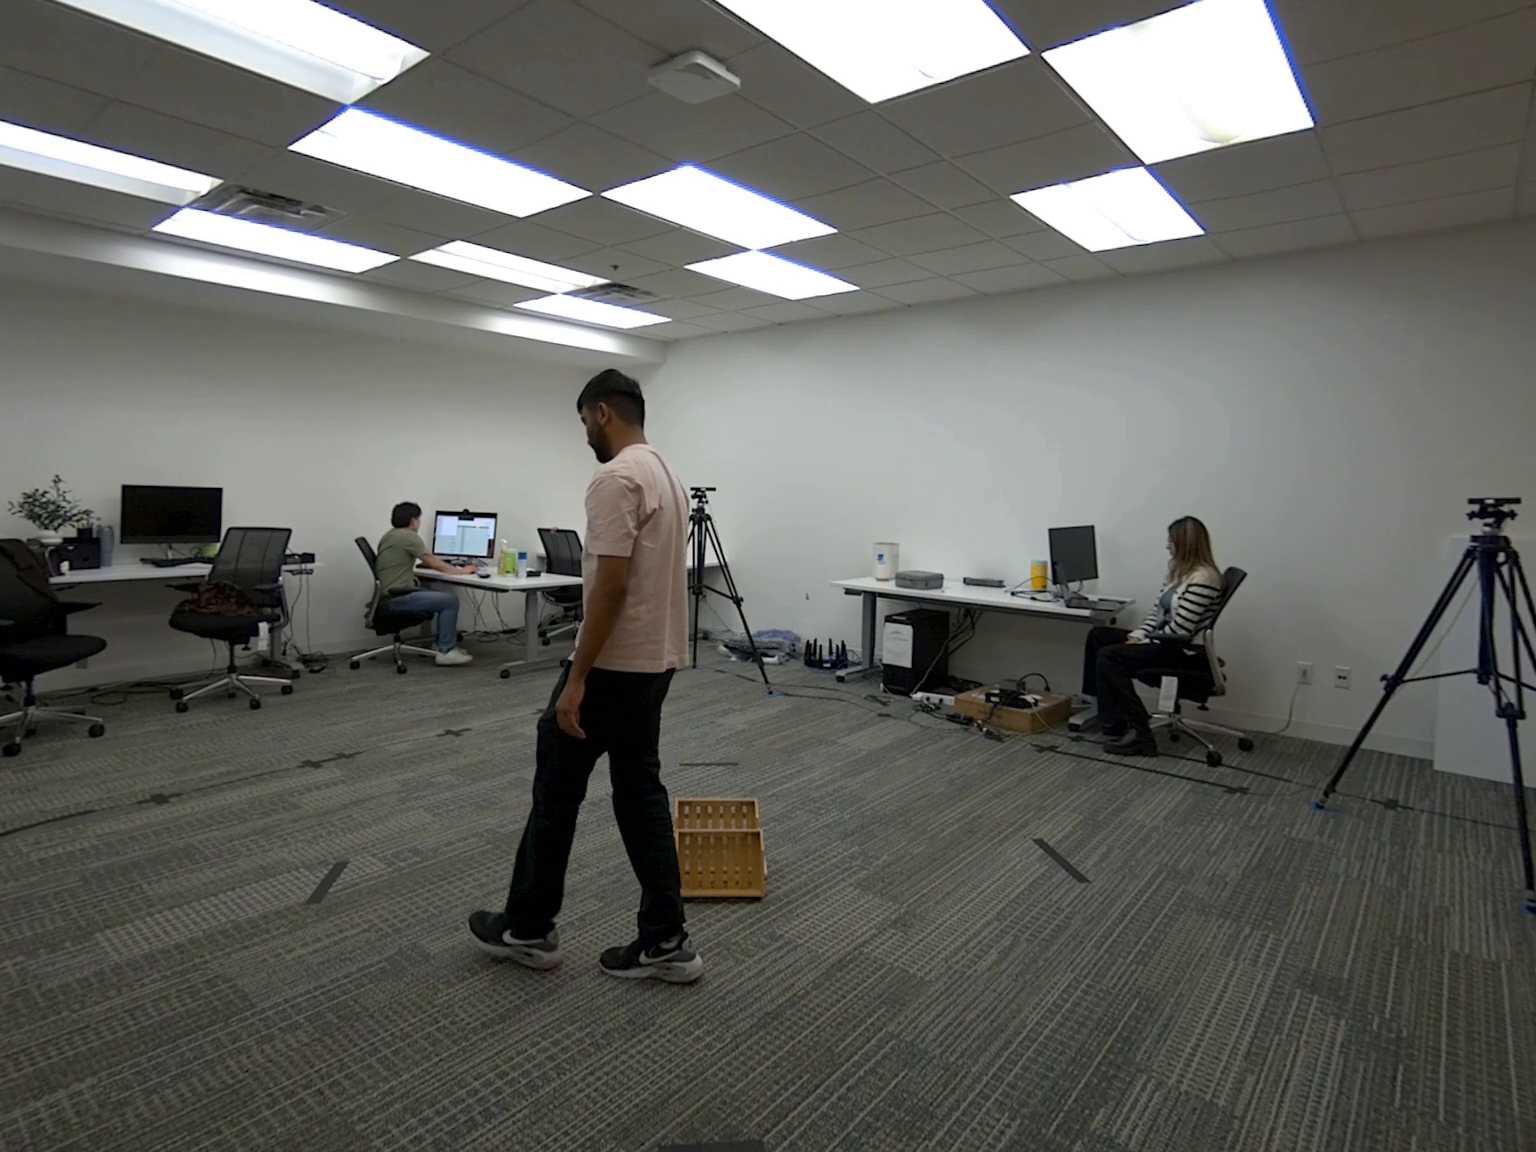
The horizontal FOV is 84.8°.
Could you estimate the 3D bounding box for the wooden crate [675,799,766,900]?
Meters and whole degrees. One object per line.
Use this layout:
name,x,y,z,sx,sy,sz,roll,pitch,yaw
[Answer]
wooden crate,-0.184,0.945,2.998,0.323,0.306,0.271,0,-12,-4
